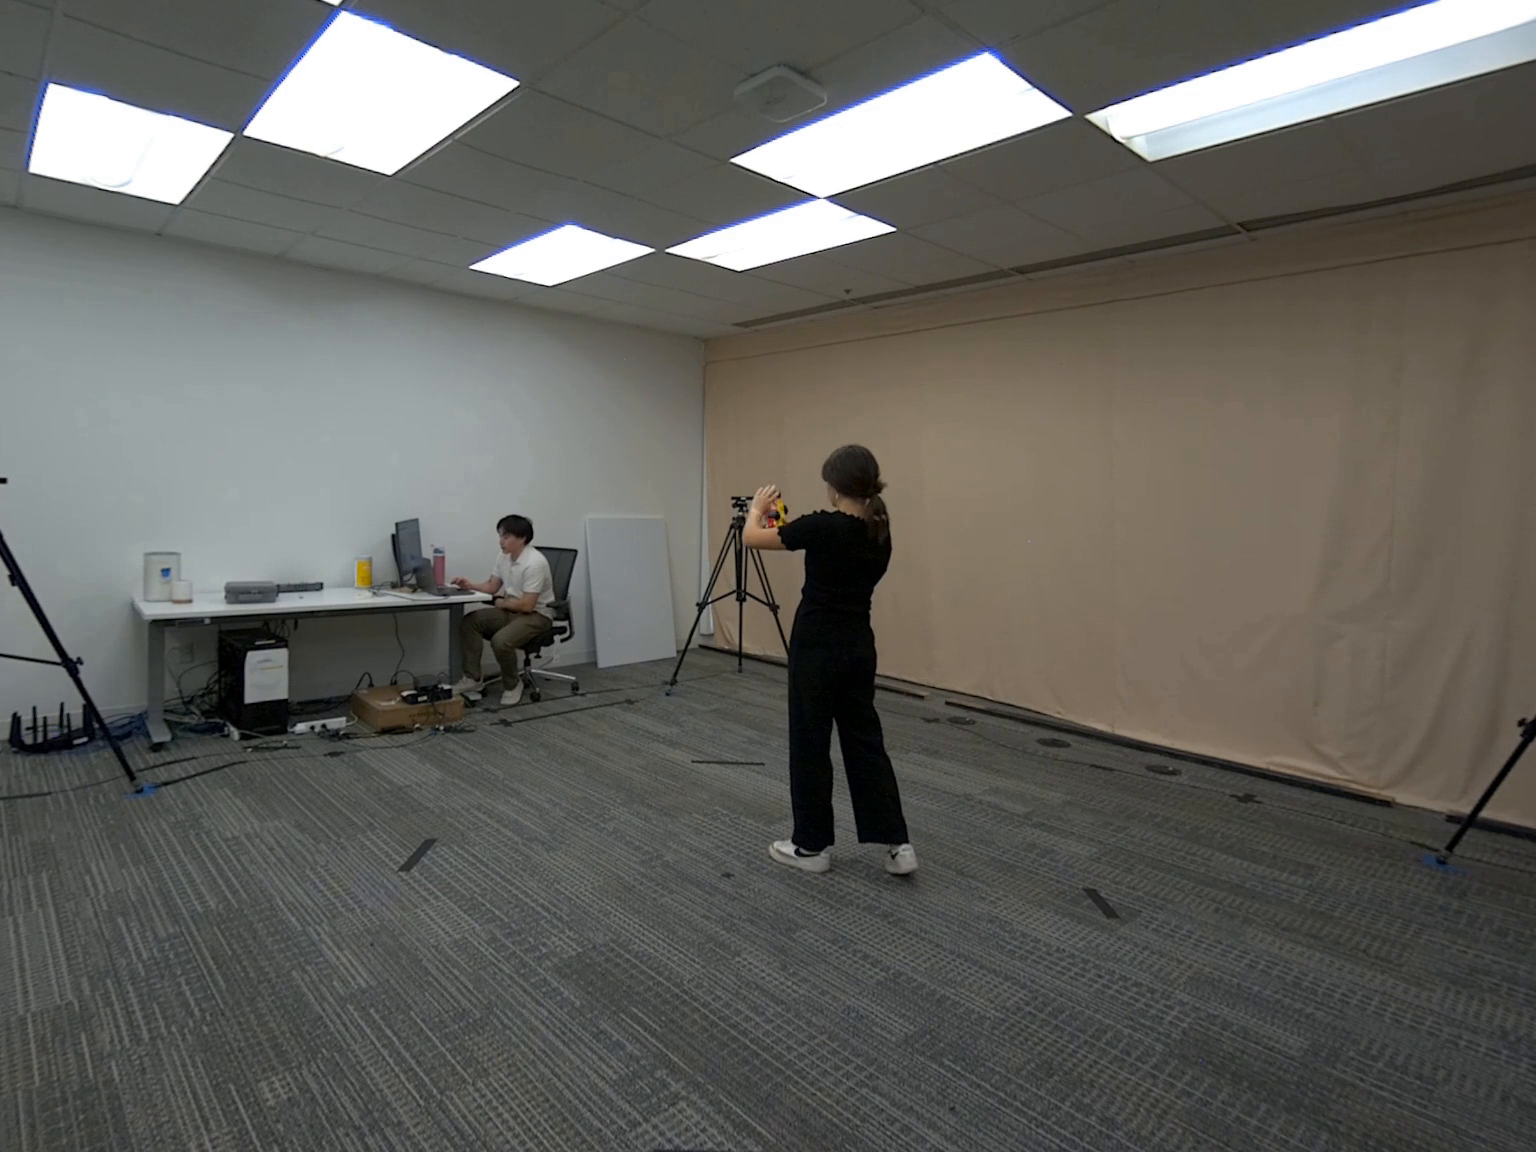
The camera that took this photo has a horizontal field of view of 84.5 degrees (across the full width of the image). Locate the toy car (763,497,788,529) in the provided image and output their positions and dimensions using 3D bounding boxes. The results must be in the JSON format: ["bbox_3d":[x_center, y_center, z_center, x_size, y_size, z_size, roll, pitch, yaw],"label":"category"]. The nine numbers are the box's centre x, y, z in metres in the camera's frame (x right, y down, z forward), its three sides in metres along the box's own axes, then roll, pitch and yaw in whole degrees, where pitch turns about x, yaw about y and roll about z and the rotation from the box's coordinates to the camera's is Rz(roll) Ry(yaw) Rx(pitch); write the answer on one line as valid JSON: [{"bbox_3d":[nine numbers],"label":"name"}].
[{"bbox_3d":[0.028,-0.246,3.439,0.084,0.126,0.258,-8,42,23],"label":"toy car"}]
